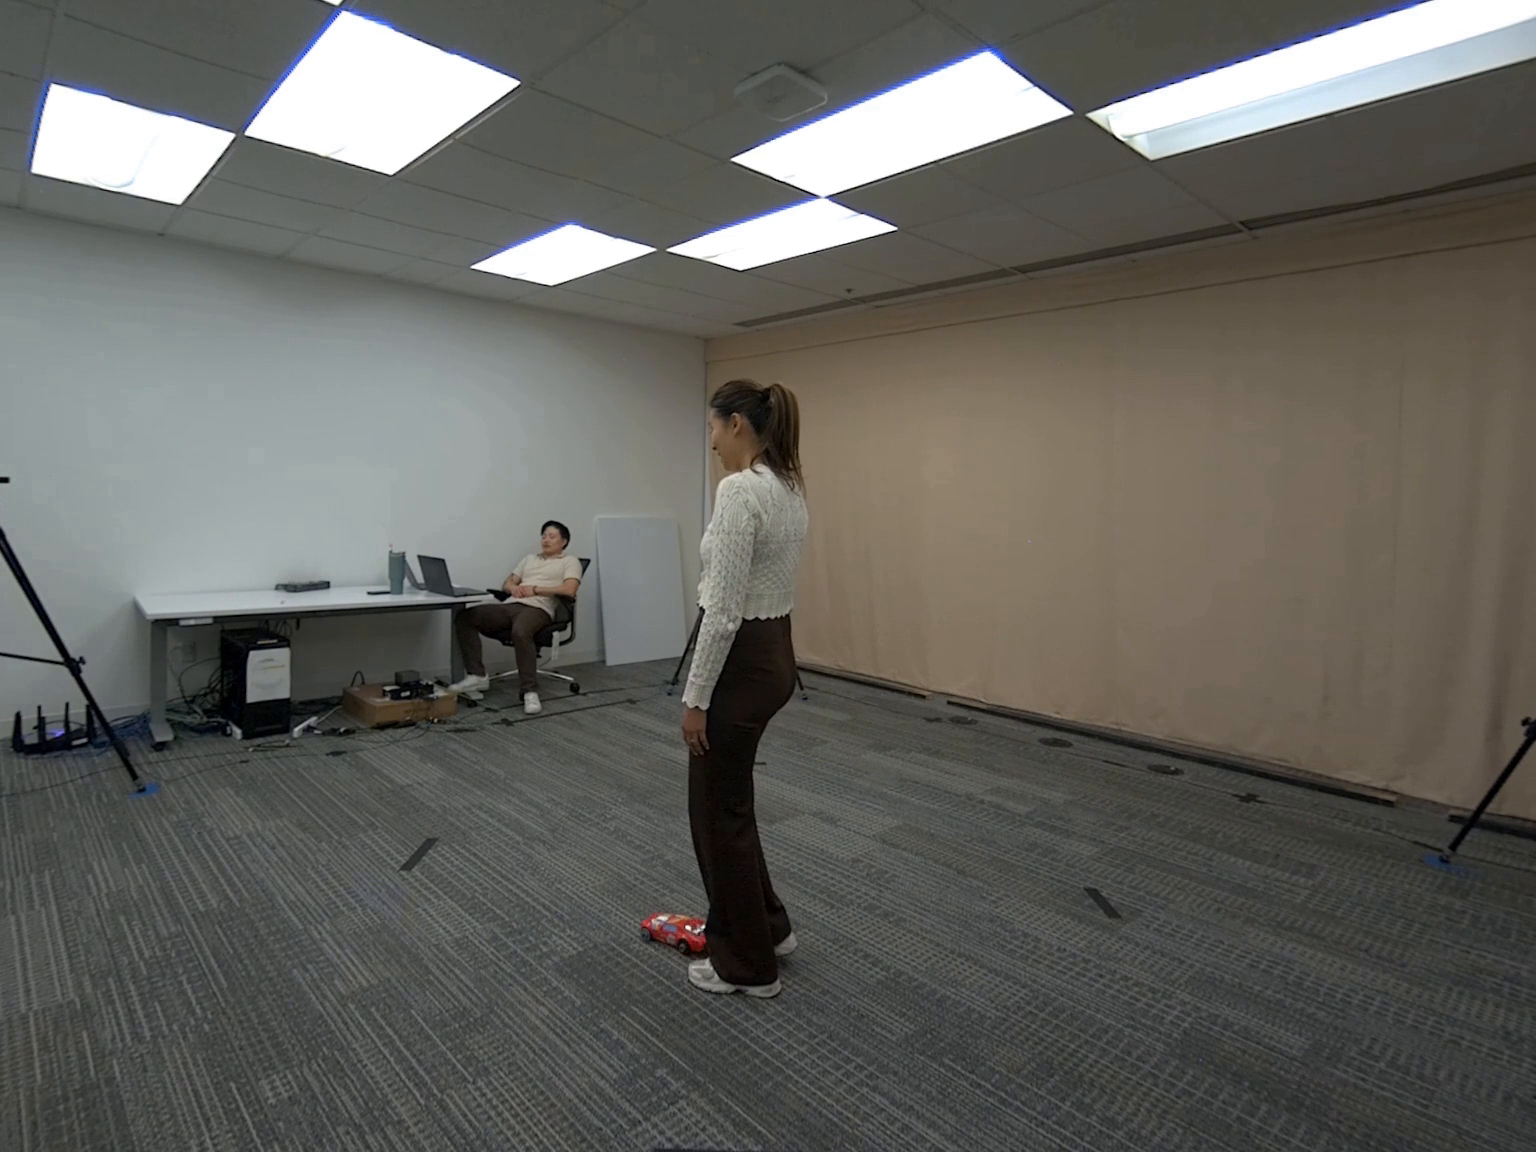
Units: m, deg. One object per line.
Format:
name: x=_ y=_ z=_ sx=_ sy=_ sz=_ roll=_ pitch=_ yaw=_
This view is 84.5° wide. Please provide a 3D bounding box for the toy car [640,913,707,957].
toy car: x=-0.282 y=1.114 z=2.618 sx=0.259 sy=0.083 sz=0.128 roll=-8 pitch=-1 yaw=33
